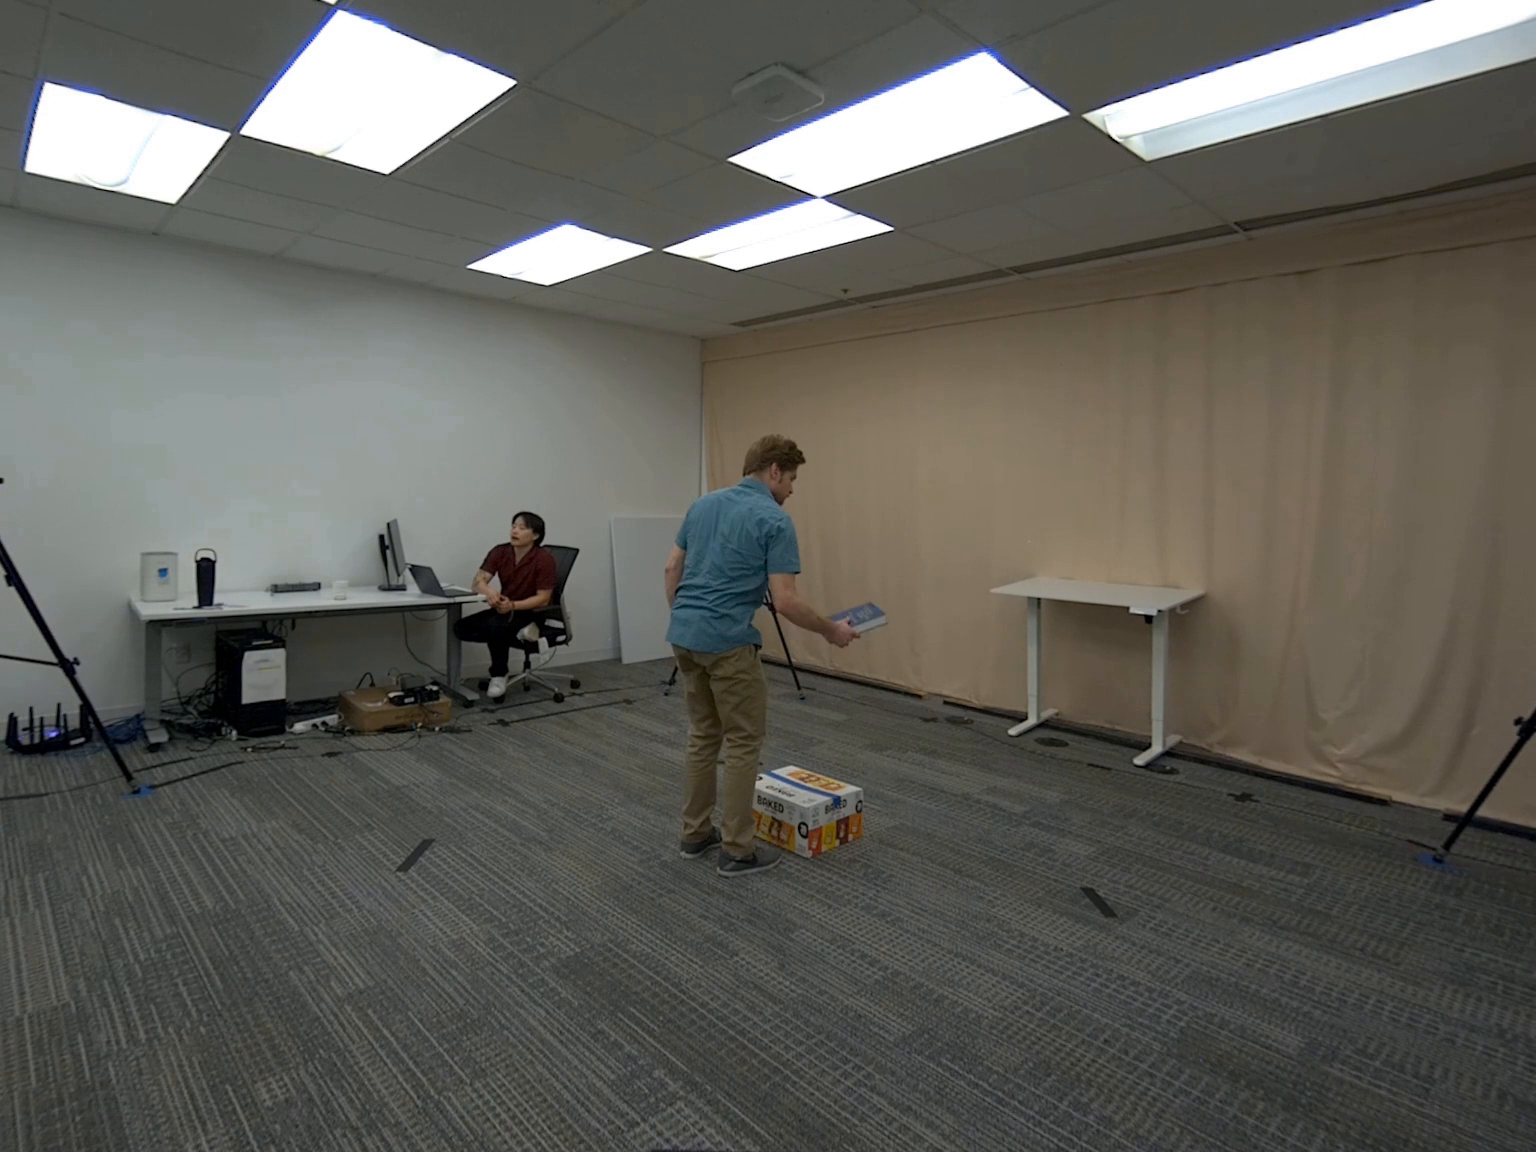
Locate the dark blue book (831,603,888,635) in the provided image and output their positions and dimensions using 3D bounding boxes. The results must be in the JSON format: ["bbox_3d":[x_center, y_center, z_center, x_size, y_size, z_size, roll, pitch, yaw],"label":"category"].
[{"bbox_3d":[0.312,0.182,3.319,0.244,0.044,0.167,-17,19,-8],"label":"dark blue book"}]
